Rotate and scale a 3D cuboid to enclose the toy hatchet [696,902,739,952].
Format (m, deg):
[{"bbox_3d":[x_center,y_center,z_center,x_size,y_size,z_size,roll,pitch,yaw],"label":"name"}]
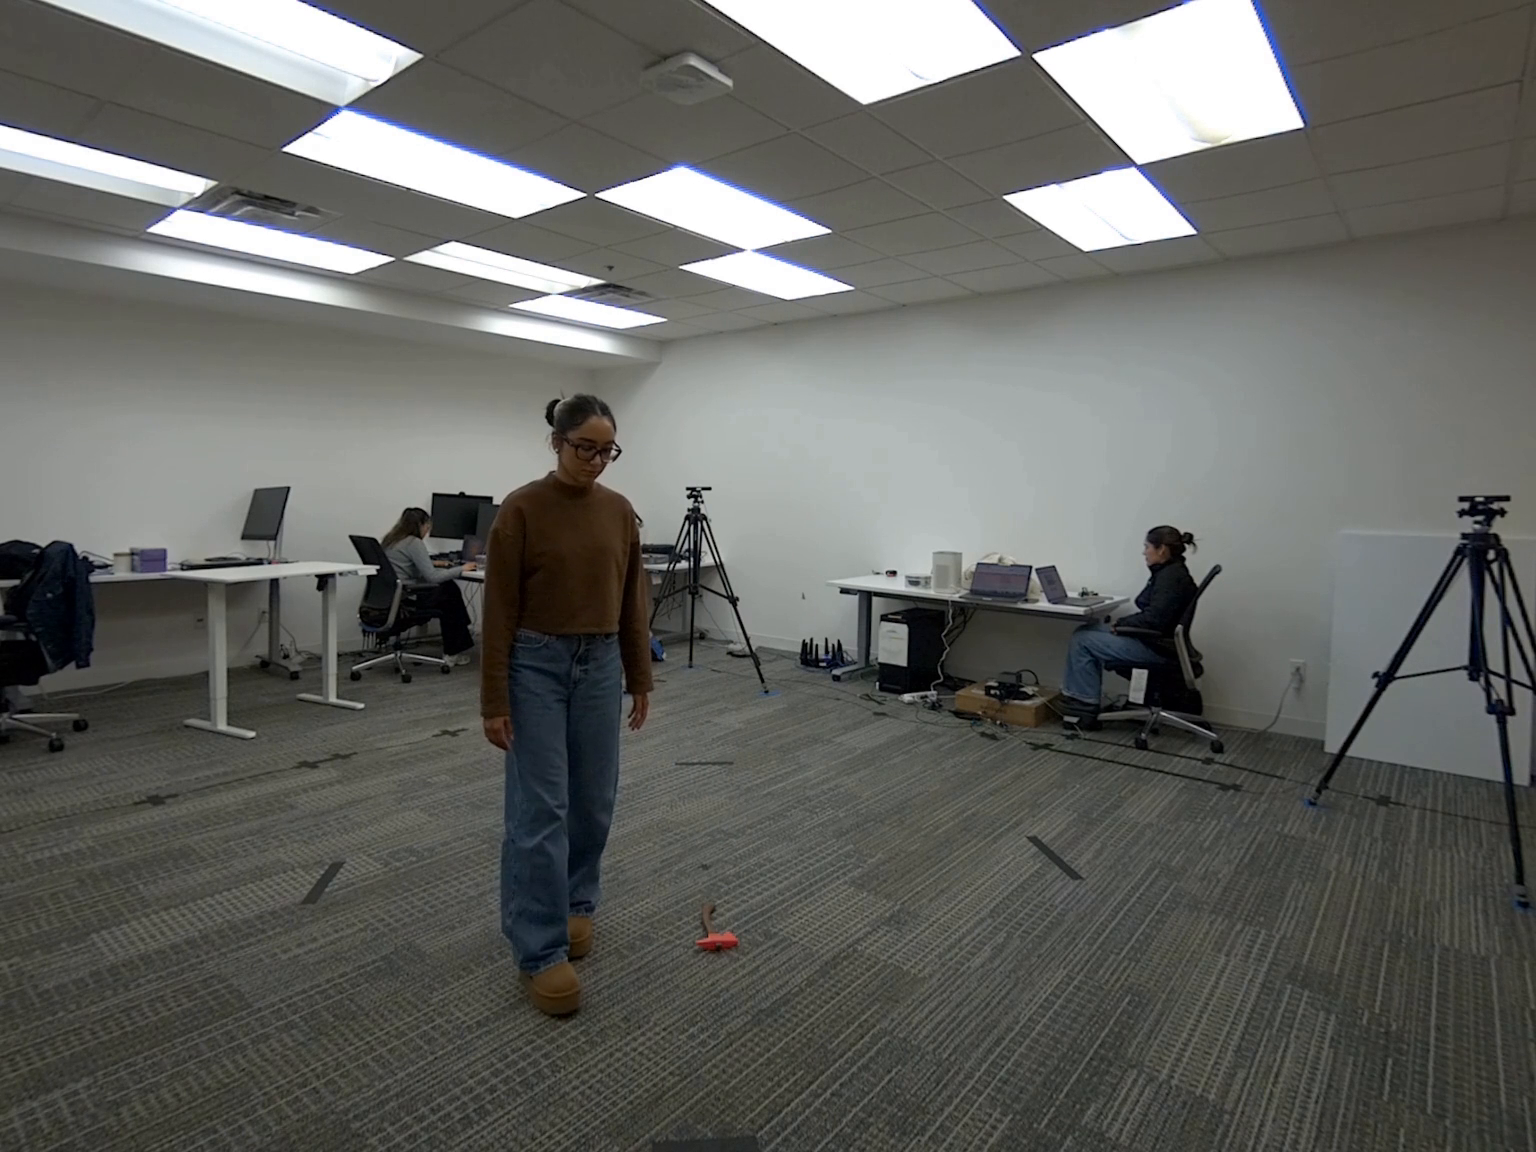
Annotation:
[{"bbox_3d":[-0.162,1.101,2.669,0.131,0.029,0.270,1,4,2],"label":"toy hatchet"}]
